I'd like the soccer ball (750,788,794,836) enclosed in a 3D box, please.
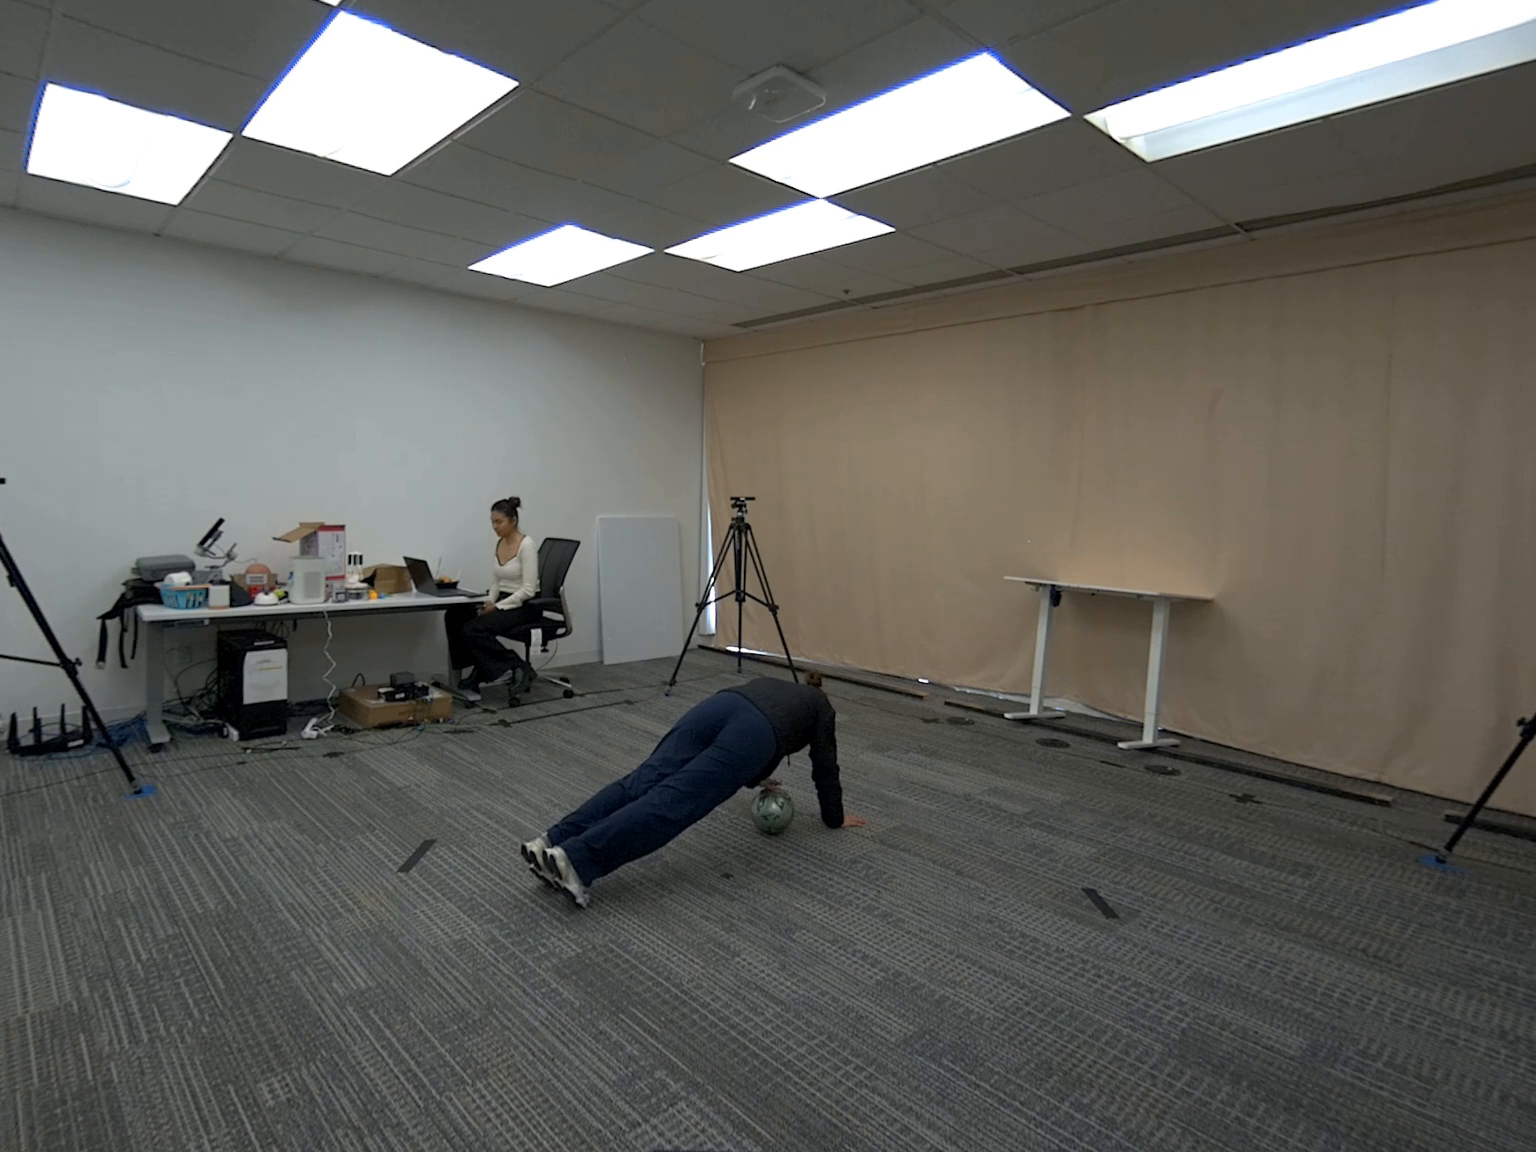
[{"bbox_3d":[0.006,0.974,3.527,0.187,0.187,0.188,1,4,-1],"label":"soccer ball"}]
